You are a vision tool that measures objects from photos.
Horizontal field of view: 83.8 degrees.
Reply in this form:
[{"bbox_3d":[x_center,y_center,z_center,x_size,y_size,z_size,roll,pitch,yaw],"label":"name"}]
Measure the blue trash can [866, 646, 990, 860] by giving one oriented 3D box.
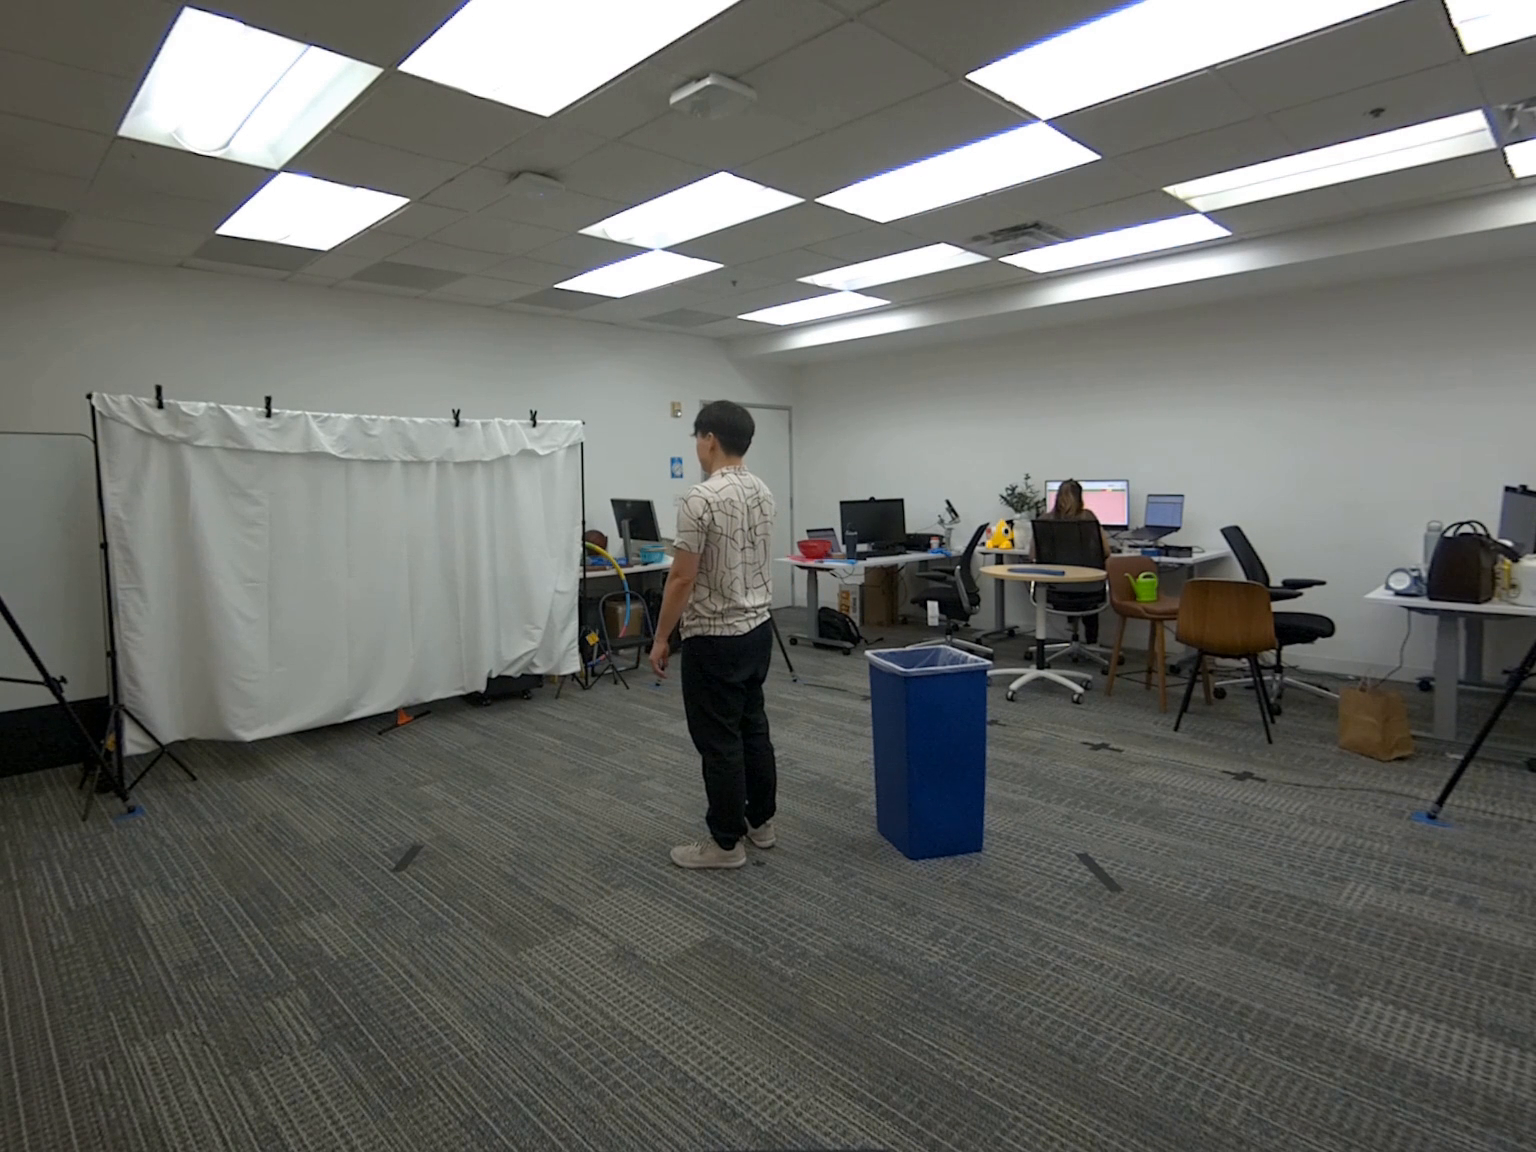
[{"bbox_3d":[0.603,0.660,3.260,0.369,0.711,0.385,-2,4,-16],"label":"blue trash can"}]
